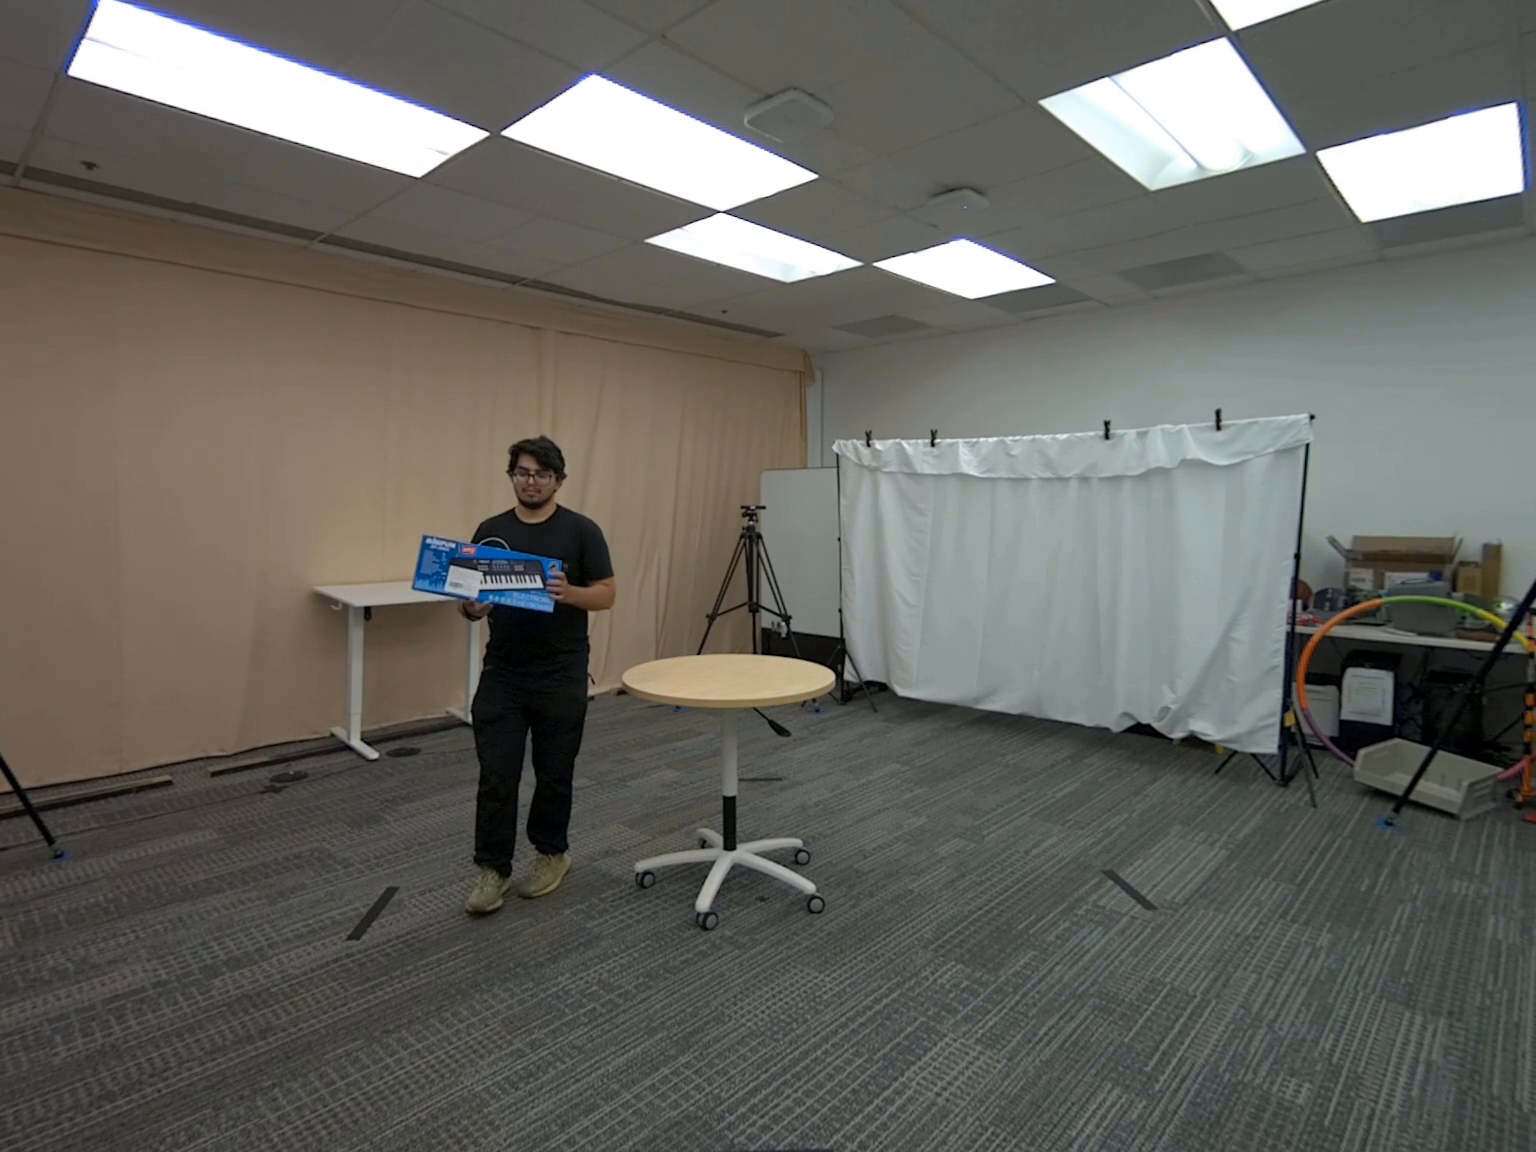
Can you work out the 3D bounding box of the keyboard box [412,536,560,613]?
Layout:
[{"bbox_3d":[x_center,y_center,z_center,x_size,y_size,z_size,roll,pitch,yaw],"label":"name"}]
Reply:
[{"bbox_3d":[-0.893,-0.002,2.672,0.427,0.176,0.060,11,-8,-20],"label":"keyboard box"}]
